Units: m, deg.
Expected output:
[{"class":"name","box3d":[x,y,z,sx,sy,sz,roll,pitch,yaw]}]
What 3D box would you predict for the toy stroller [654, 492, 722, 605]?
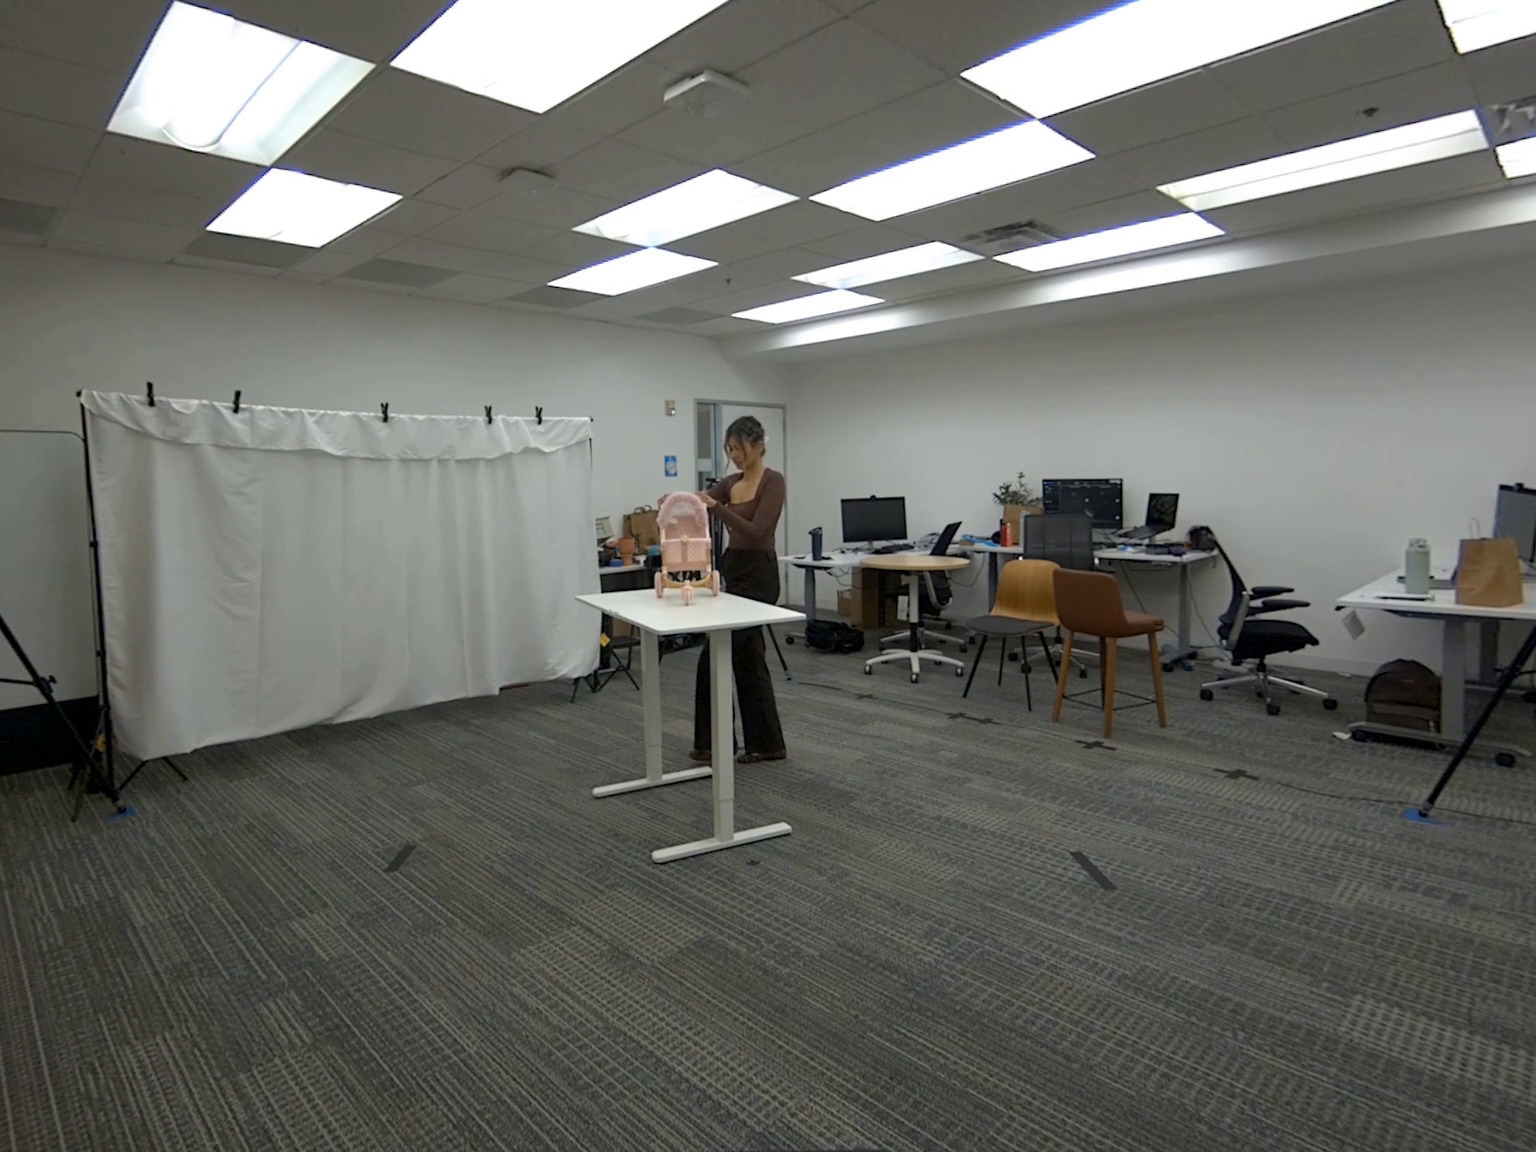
[{"class":"toy stroller","box3d":[-0.356,-0.121,3.669,0.282,0.541,0.337,-3,-11,0]}]
